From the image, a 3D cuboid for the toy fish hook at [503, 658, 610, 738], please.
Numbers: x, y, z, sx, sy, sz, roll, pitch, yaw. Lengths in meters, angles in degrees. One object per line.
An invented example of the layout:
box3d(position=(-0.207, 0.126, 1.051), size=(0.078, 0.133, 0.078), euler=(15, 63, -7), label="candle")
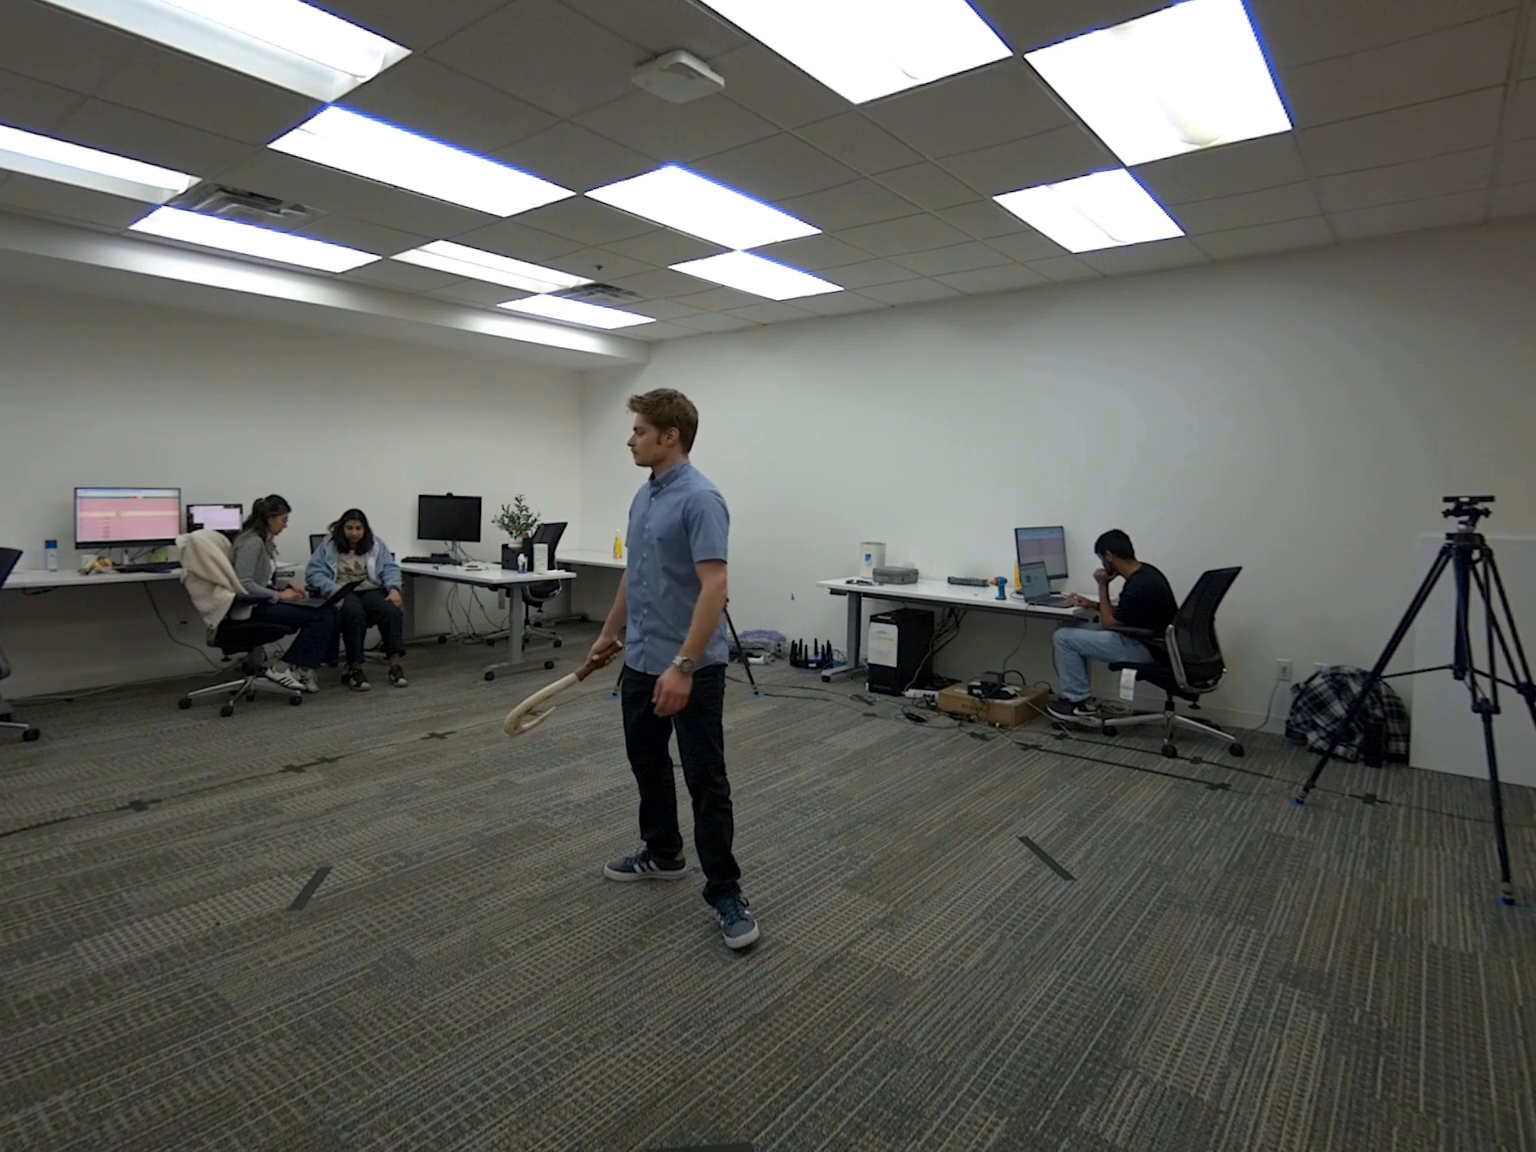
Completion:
box3d(position=(-0.737, 0.409, 3.050), size=(0.503, 0.049, 0.220), euler=(-35, -17, -20), label="toy fish hook")
